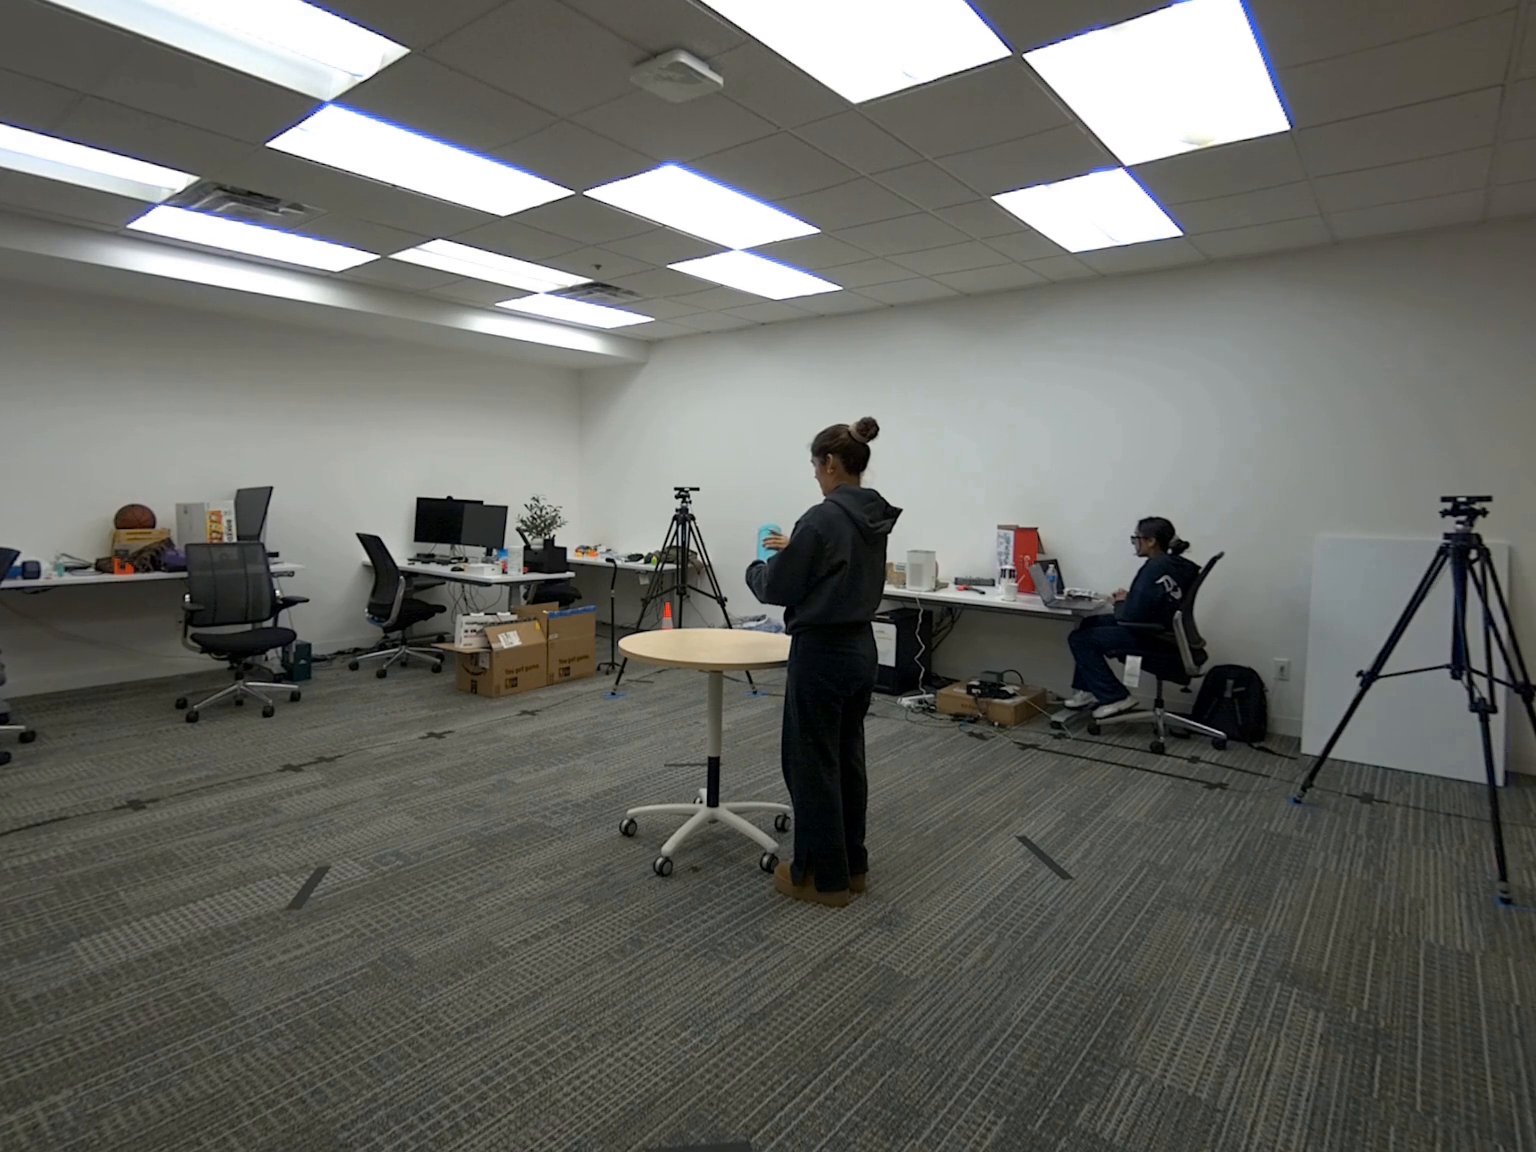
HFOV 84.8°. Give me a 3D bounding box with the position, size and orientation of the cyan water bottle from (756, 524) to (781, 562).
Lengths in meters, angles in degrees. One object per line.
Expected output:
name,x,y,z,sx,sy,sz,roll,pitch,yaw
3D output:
cyan water bottle,0.010,-0.065,3.180,0.092,0.291,0.090,1,-39,-1
